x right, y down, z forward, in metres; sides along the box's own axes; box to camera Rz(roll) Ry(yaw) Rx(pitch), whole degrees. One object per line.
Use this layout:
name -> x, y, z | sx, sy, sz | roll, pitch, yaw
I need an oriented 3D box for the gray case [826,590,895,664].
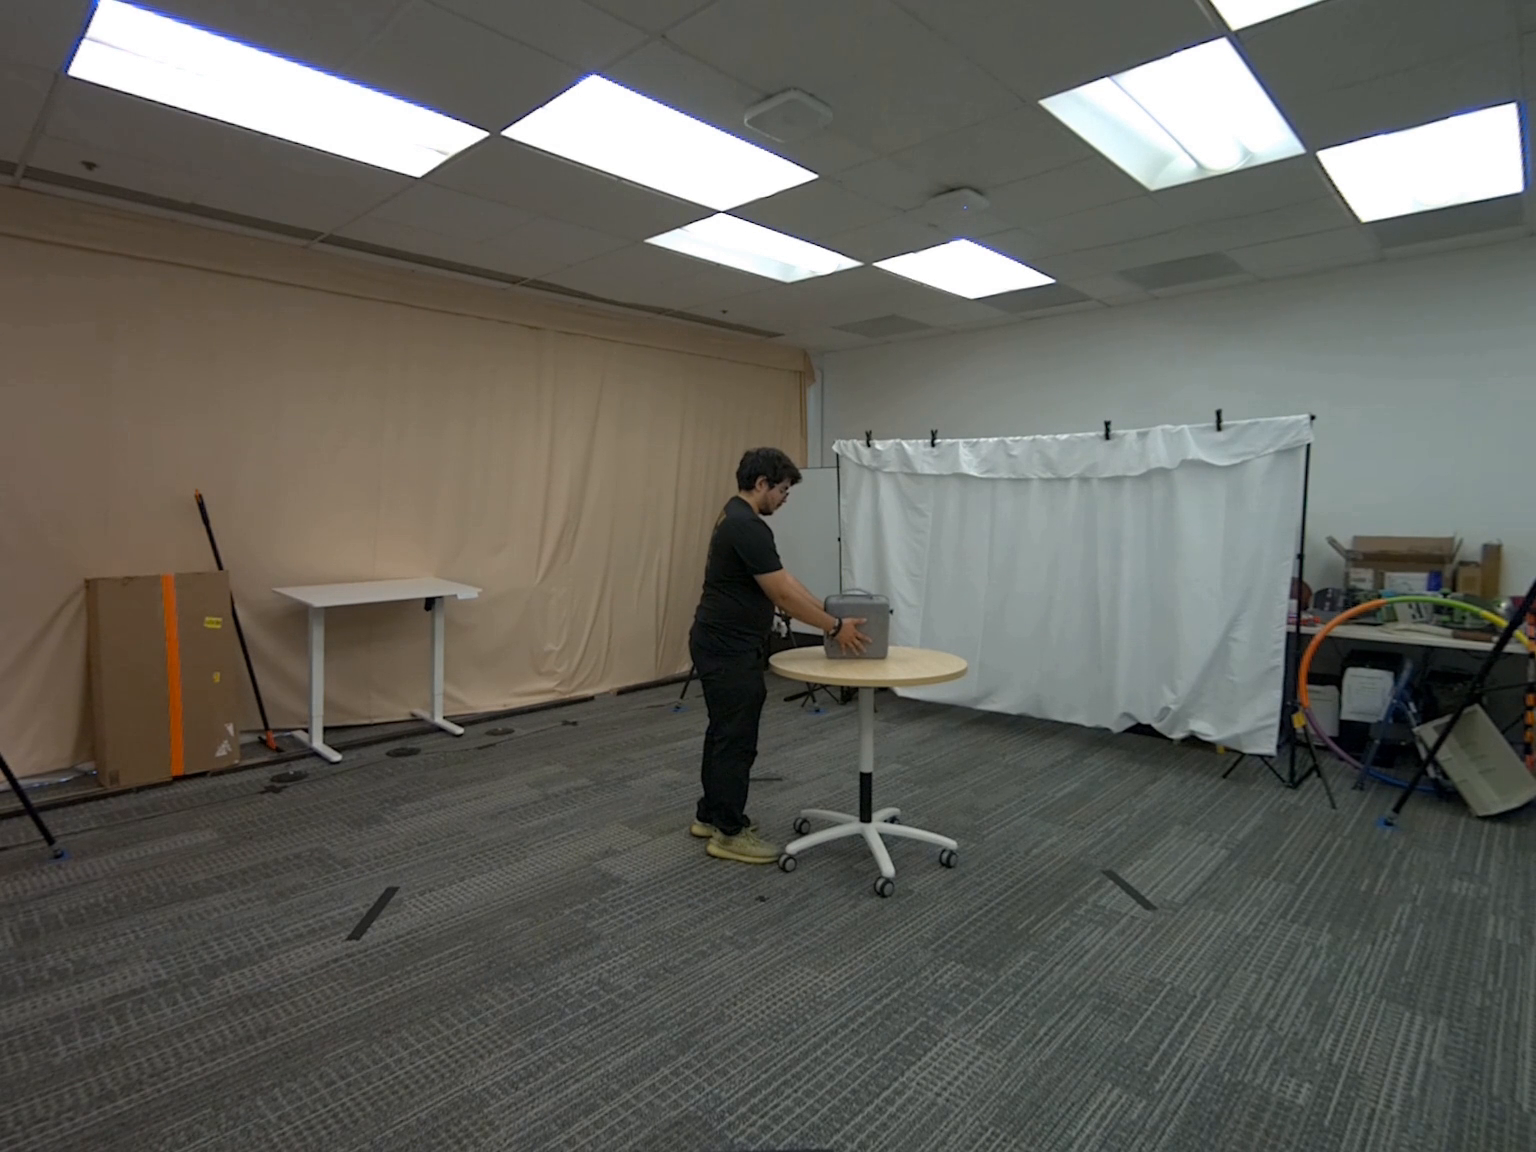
gray case -> 0.361, 0.198, 3.339 | 0.258, 0.258, 0.104 | -1, 12, 5
